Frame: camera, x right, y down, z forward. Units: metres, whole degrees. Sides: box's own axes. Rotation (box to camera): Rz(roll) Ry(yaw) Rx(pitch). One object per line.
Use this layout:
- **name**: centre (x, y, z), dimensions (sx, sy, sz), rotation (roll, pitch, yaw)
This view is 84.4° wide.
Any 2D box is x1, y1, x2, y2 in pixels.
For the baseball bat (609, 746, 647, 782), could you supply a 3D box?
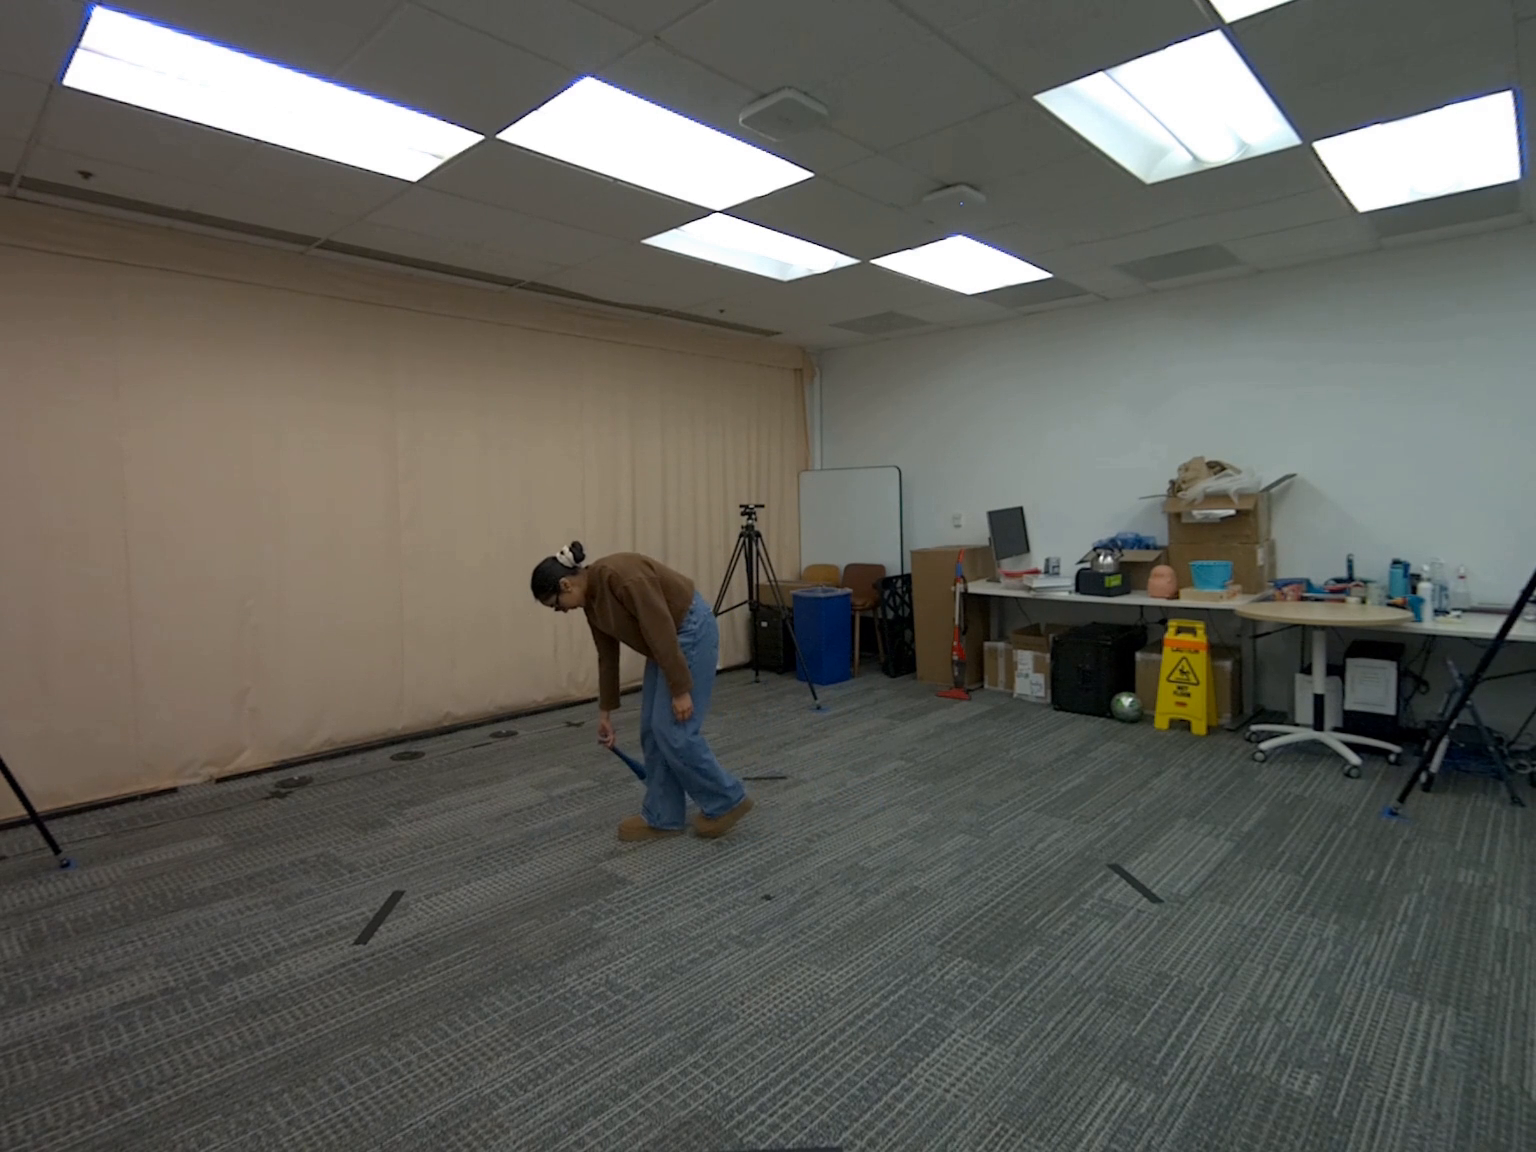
- **baseball bat**: centre (-0.573, 0.885, 3.791), dimensions (0.527, 0.089, 0.092), rotation (45, -22, -27)
